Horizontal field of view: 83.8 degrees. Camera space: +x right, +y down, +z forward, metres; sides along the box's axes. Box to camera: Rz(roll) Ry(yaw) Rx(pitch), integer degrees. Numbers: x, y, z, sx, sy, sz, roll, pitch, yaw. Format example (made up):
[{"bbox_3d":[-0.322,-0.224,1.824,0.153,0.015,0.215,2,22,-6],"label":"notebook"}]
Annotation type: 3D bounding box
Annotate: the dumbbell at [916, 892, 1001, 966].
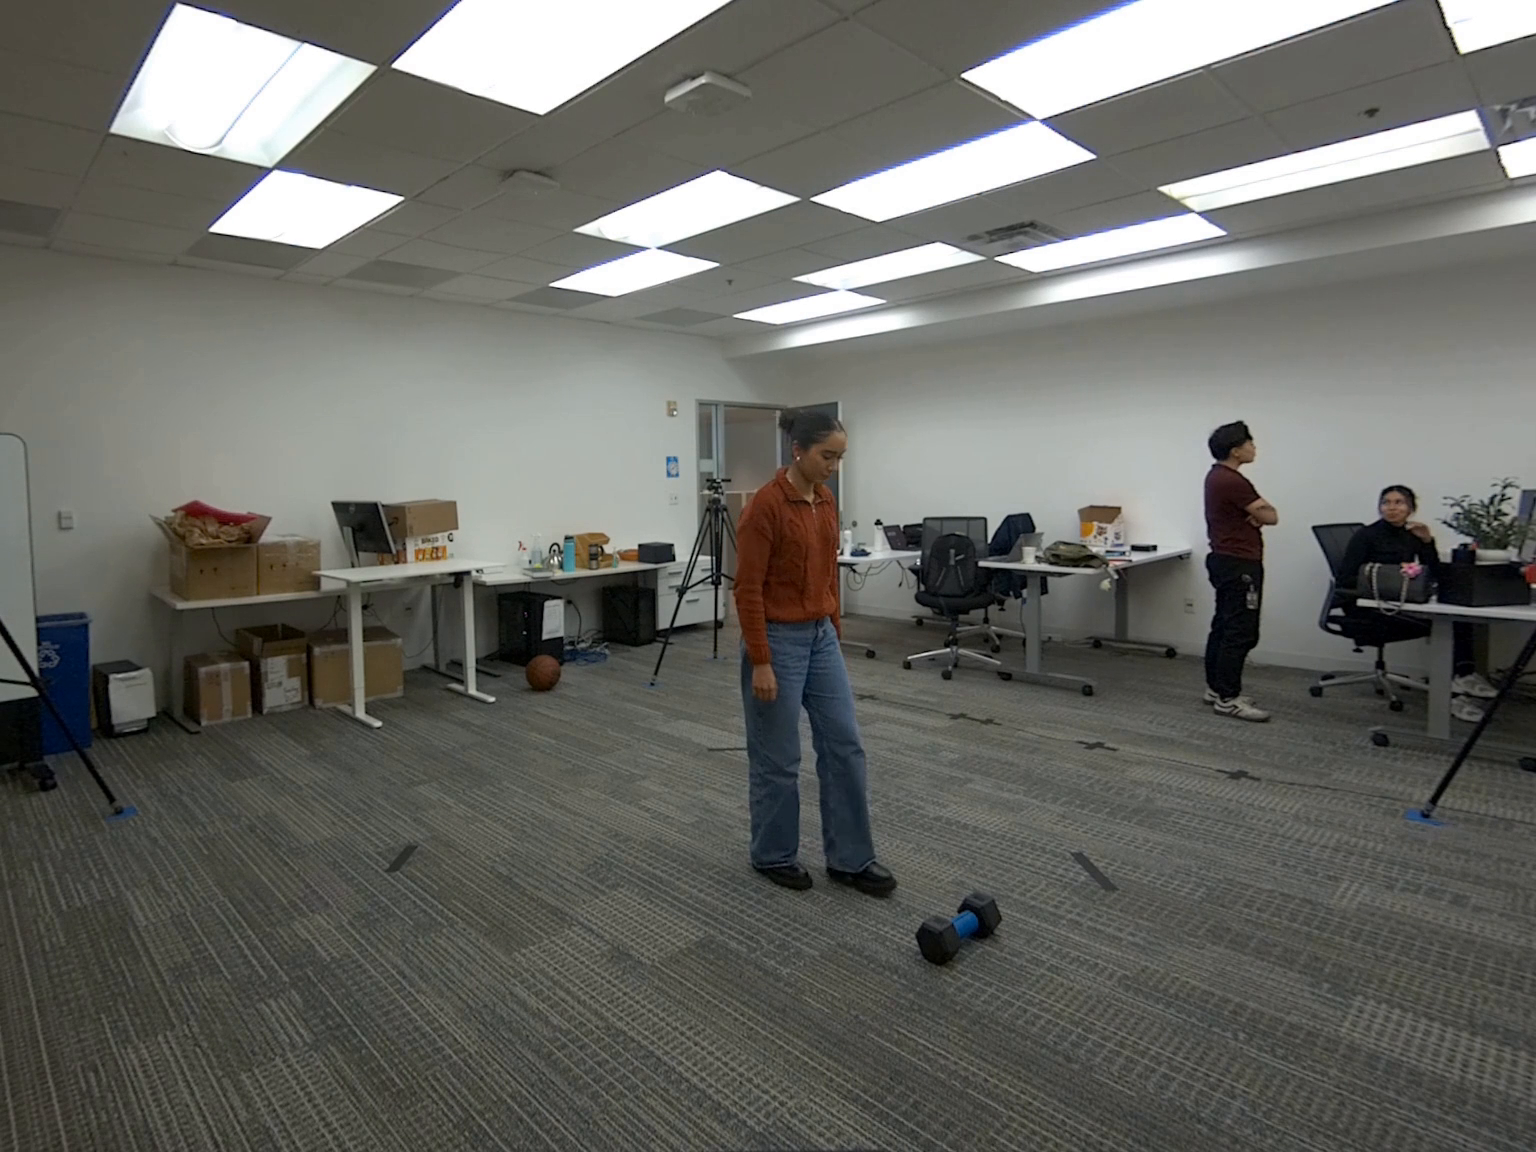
[{"bbox_3d":[0.576,1.046,2.537,0.286,0.125,0.109,-6,-23,-41],"label":"dumbbell"}]
